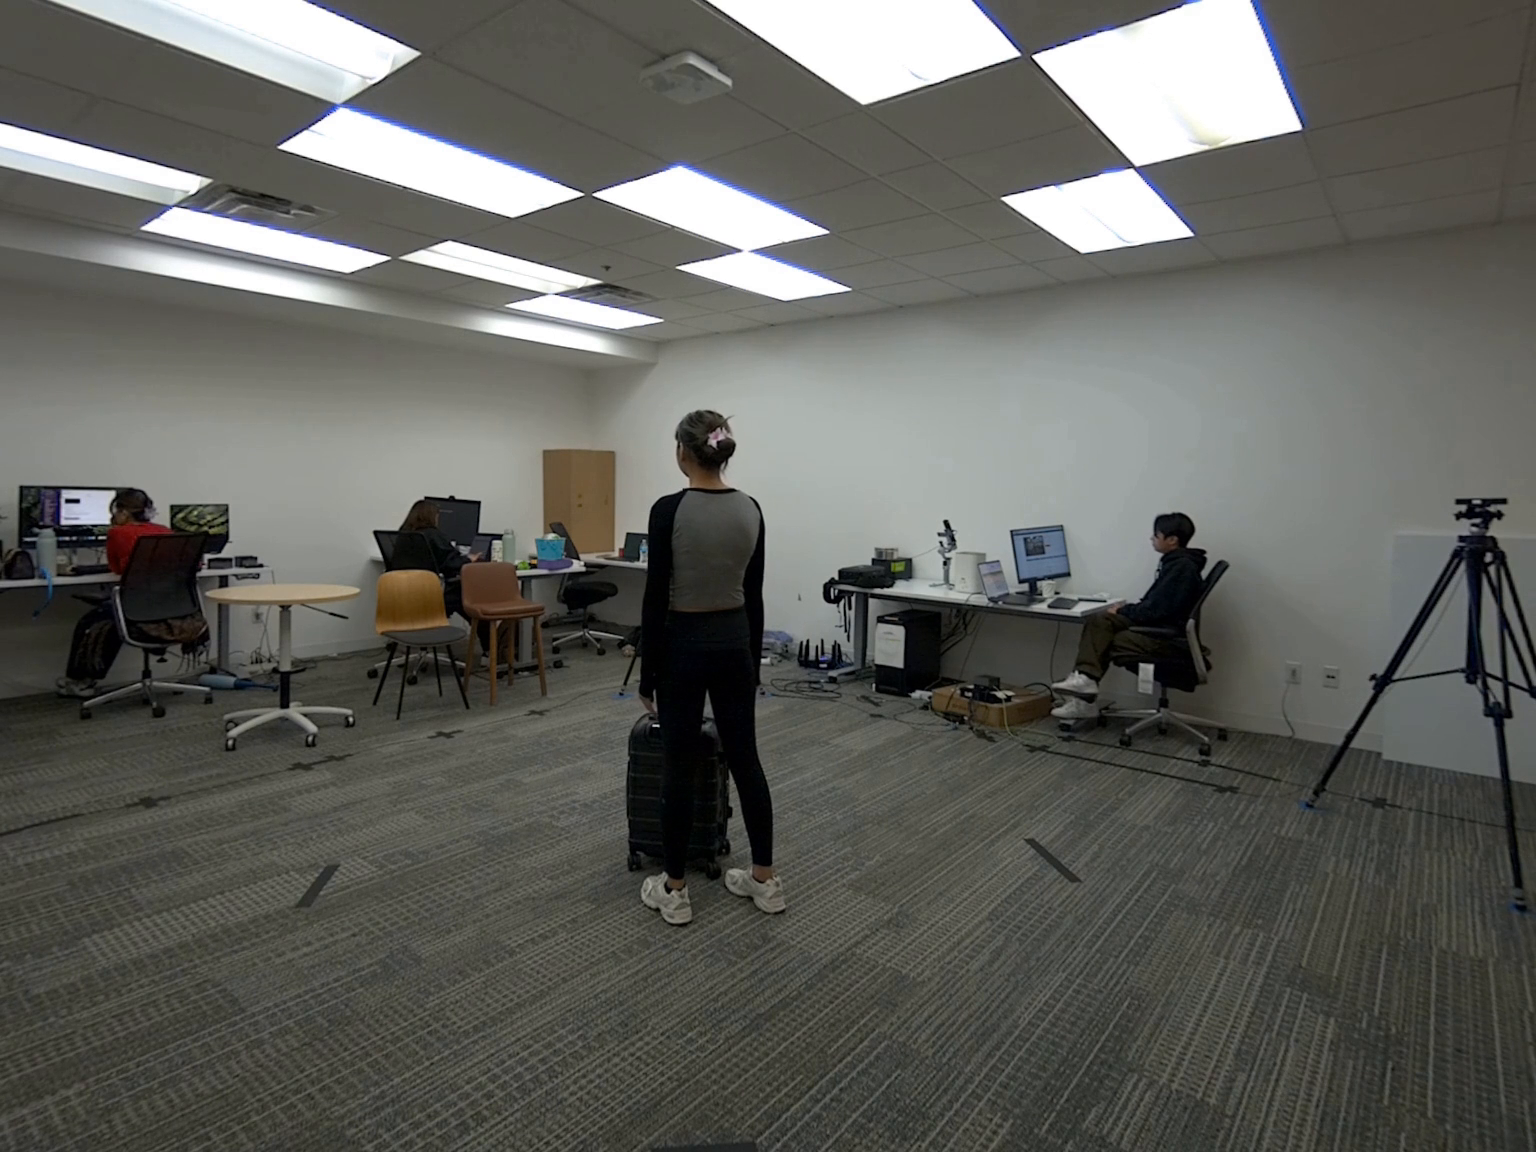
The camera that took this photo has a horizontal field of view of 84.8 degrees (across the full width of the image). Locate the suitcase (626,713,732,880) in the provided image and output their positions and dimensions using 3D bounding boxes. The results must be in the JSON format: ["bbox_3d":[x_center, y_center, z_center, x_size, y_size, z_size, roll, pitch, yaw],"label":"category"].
[{"bbox_3d":[-0.344,0.784,3.187,0.380,0.549,0.245,1,1,11],"label":"suitcase"}]
